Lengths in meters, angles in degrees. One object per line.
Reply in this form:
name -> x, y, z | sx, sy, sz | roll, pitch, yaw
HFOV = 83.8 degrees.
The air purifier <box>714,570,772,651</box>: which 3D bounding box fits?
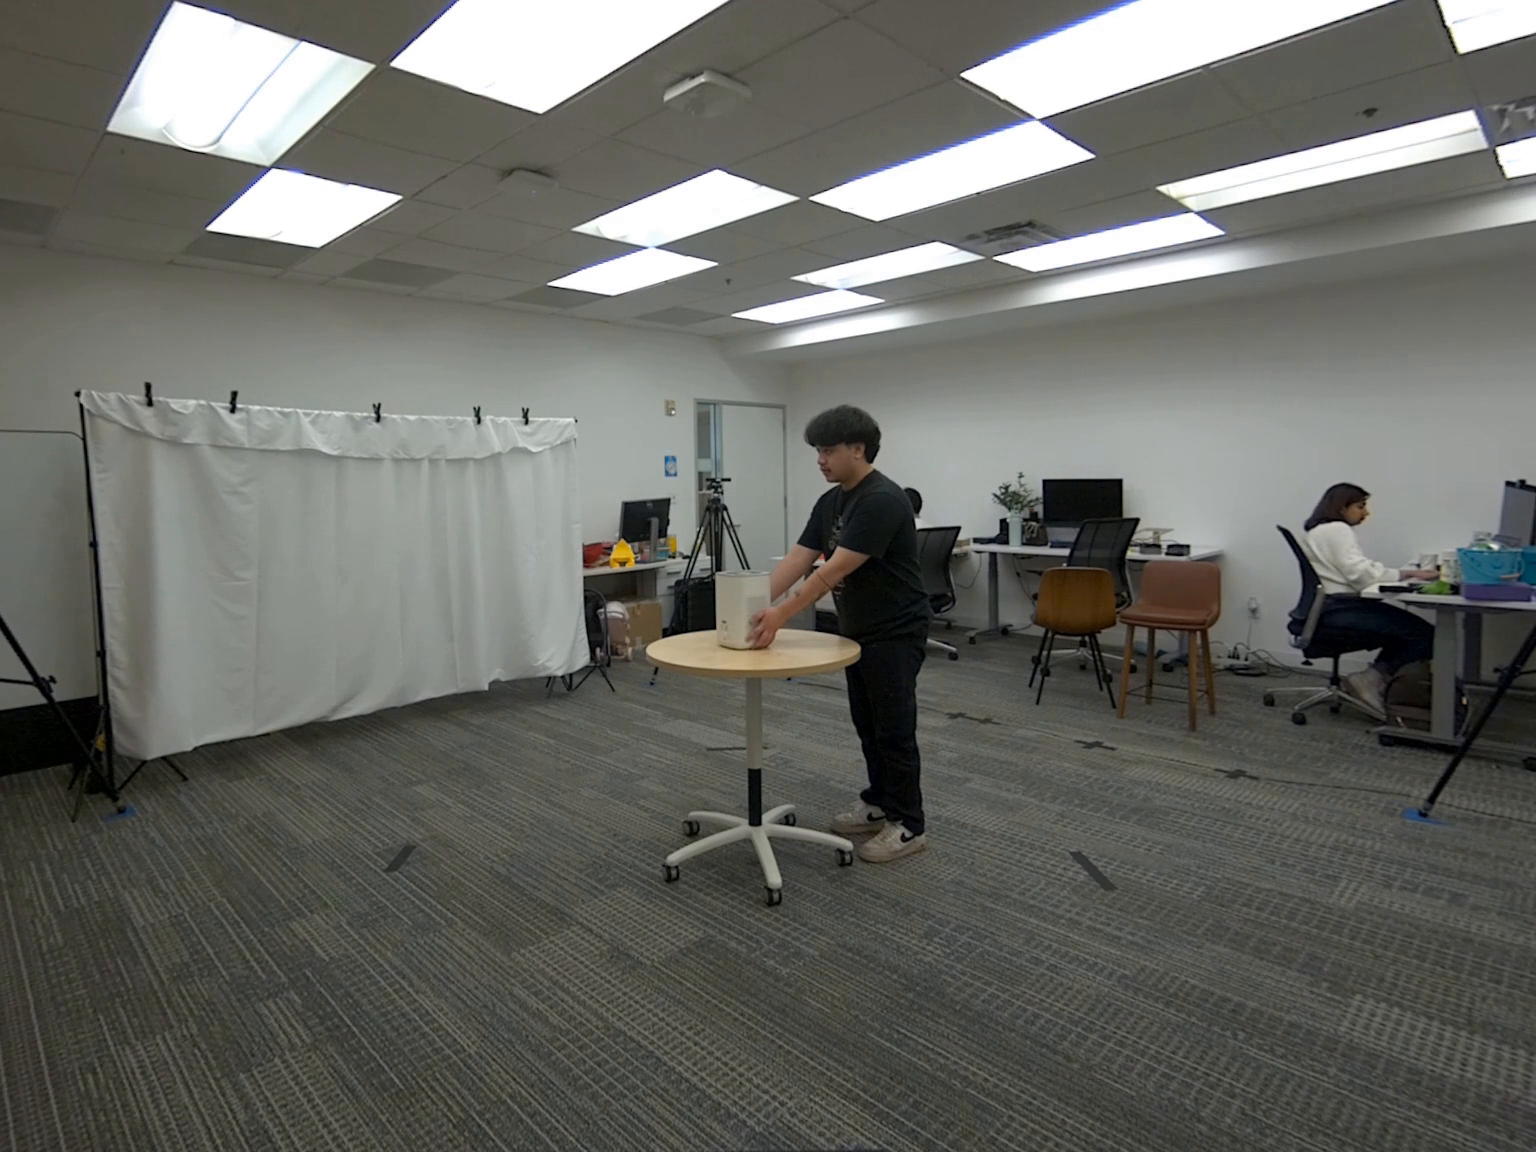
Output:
air purifier -> -0.081, 0.114, 3.083 | 0.167, 0.265, 0.176 | -1, 2, -42
